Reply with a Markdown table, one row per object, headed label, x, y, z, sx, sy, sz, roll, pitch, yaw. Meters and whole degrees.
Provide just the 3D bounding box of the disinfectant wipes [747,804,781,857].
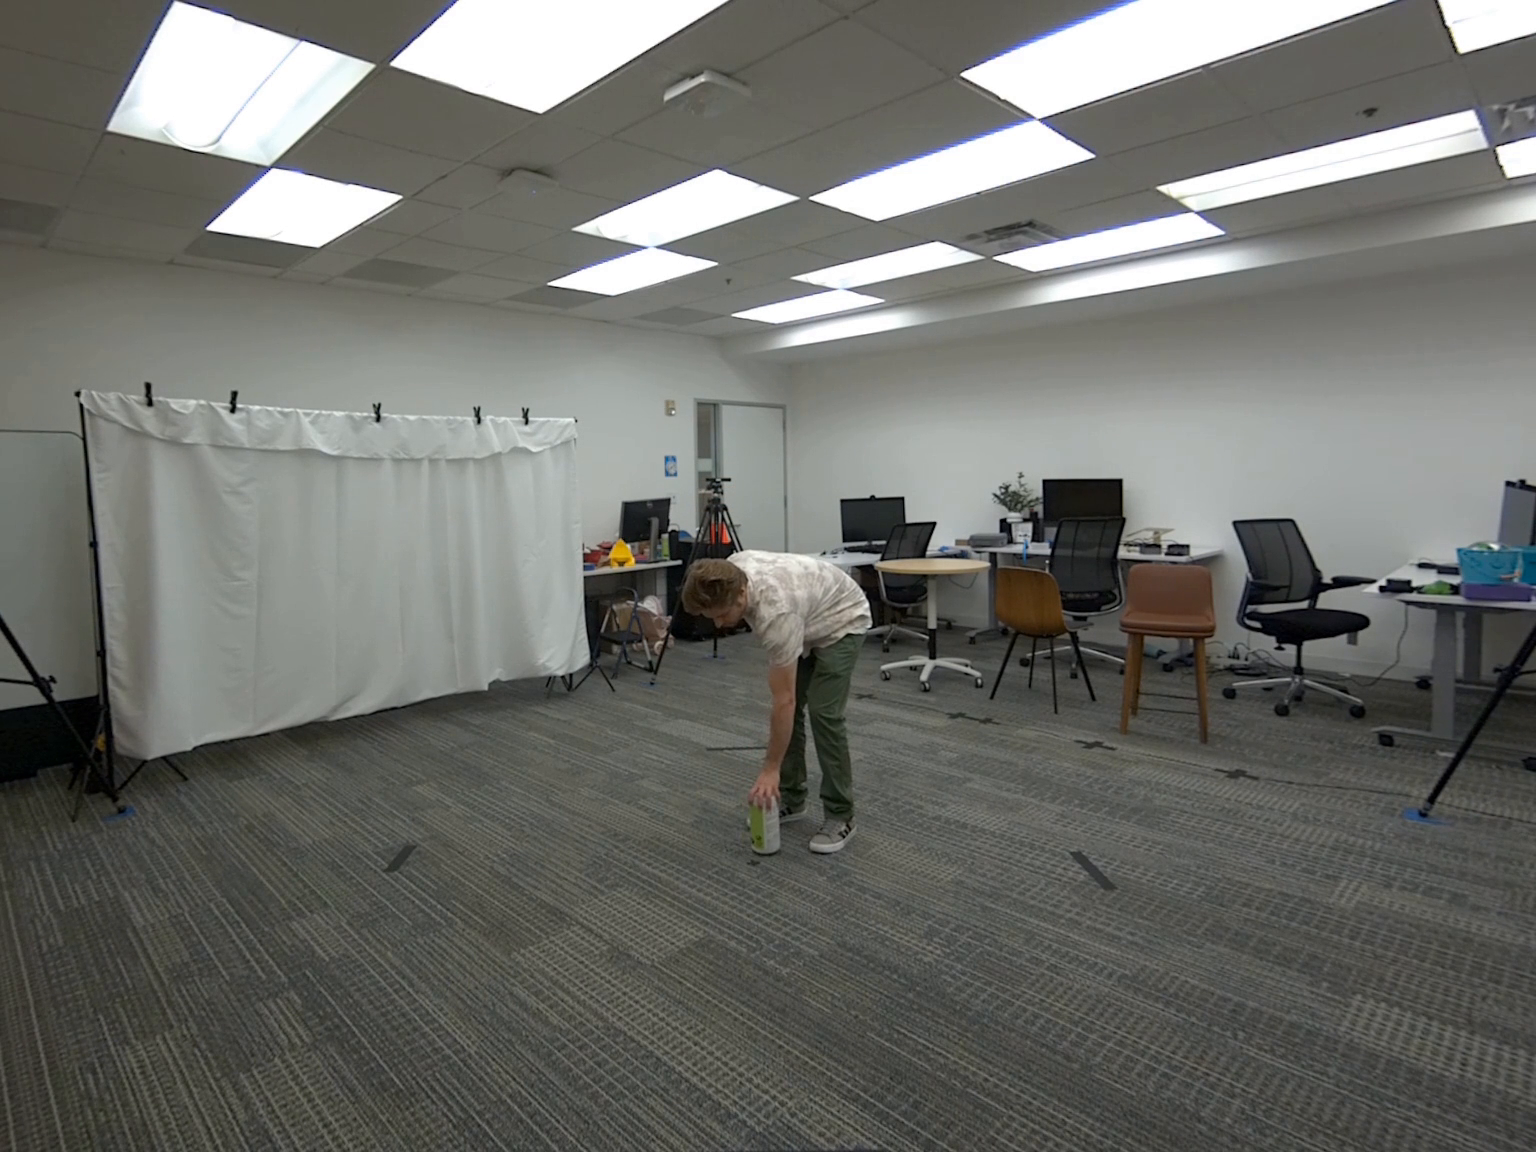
| label | x | y | z | sx | sy | sz | roll | pitch | yaw |
| --- | --- | --- | --- | --- | --- | --- | --- | --- | --- |
| disinfectant wipes | -0.014 | 0.914 | 3.192 | 0.118 | 0.216 | 0.119 | -3 | 8 | -1 |
